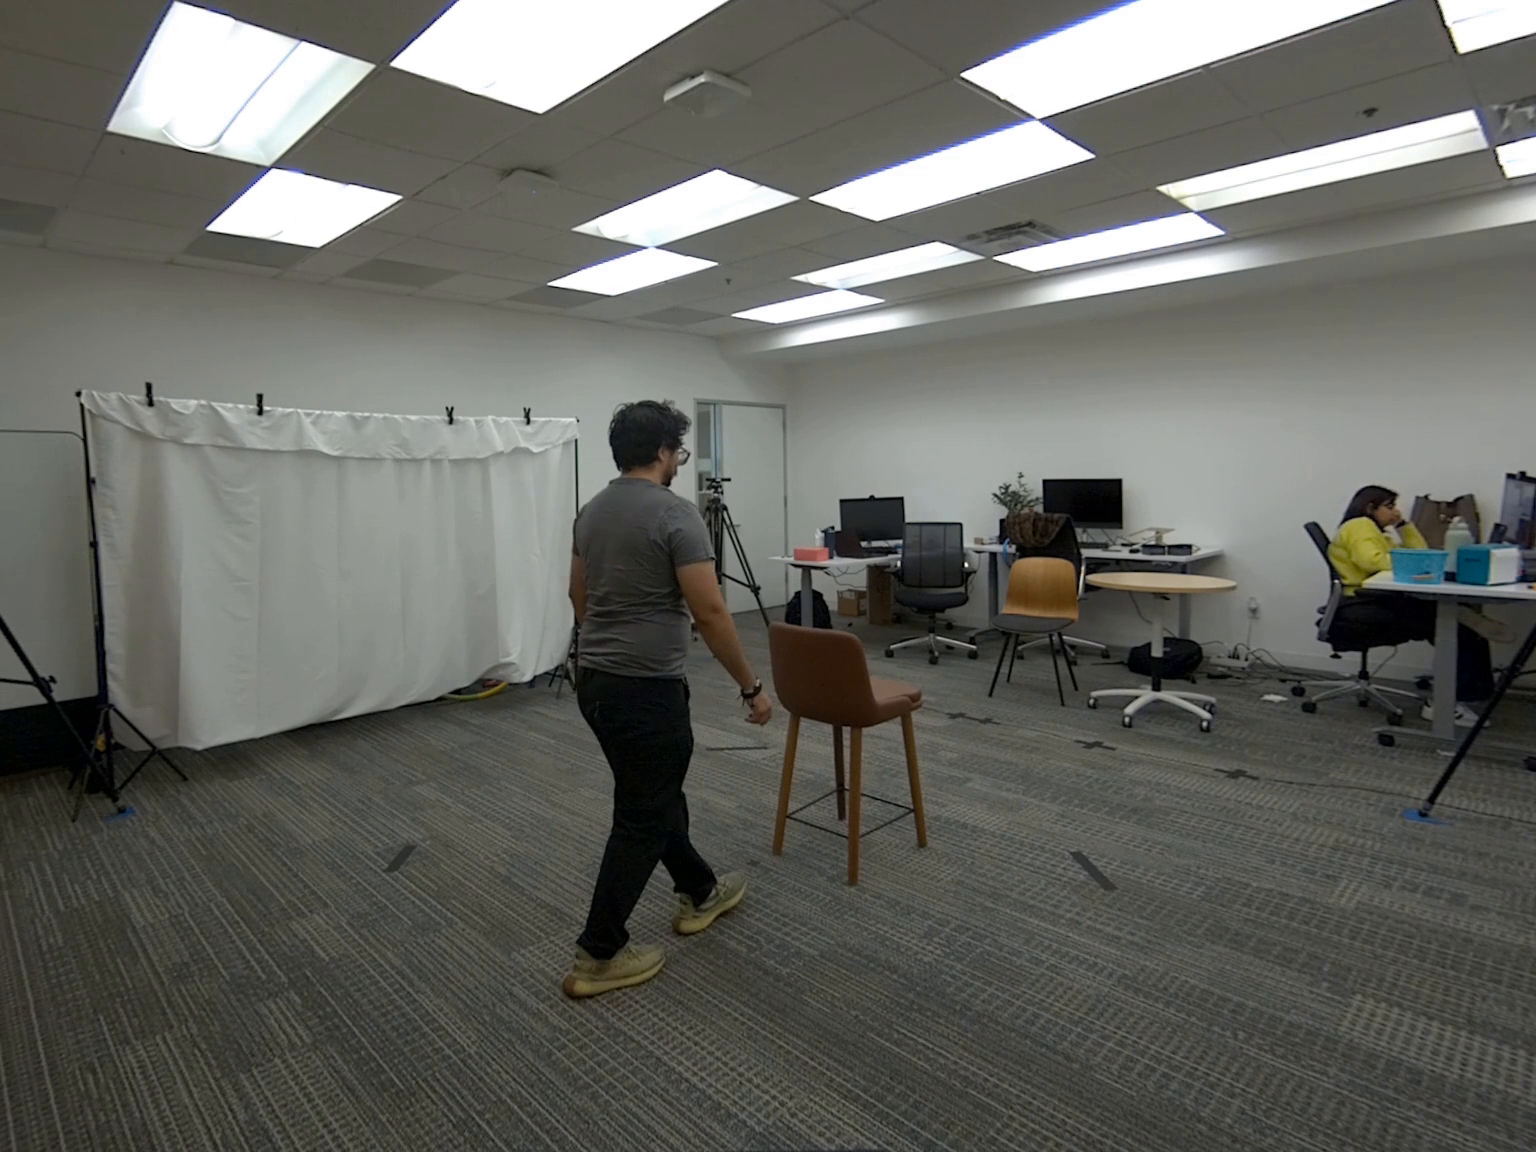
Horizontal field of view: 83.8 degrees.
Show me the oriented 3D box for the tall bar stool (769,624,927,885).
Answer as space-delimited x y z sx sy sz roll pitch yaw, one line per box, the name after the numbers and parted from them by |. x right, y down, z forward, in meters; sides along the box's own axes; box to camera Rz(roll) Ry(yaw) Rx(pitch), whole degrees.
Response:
0.293 0.594 3.176 0.470 0.885 0.456 3 8 44 | tall bar stool
